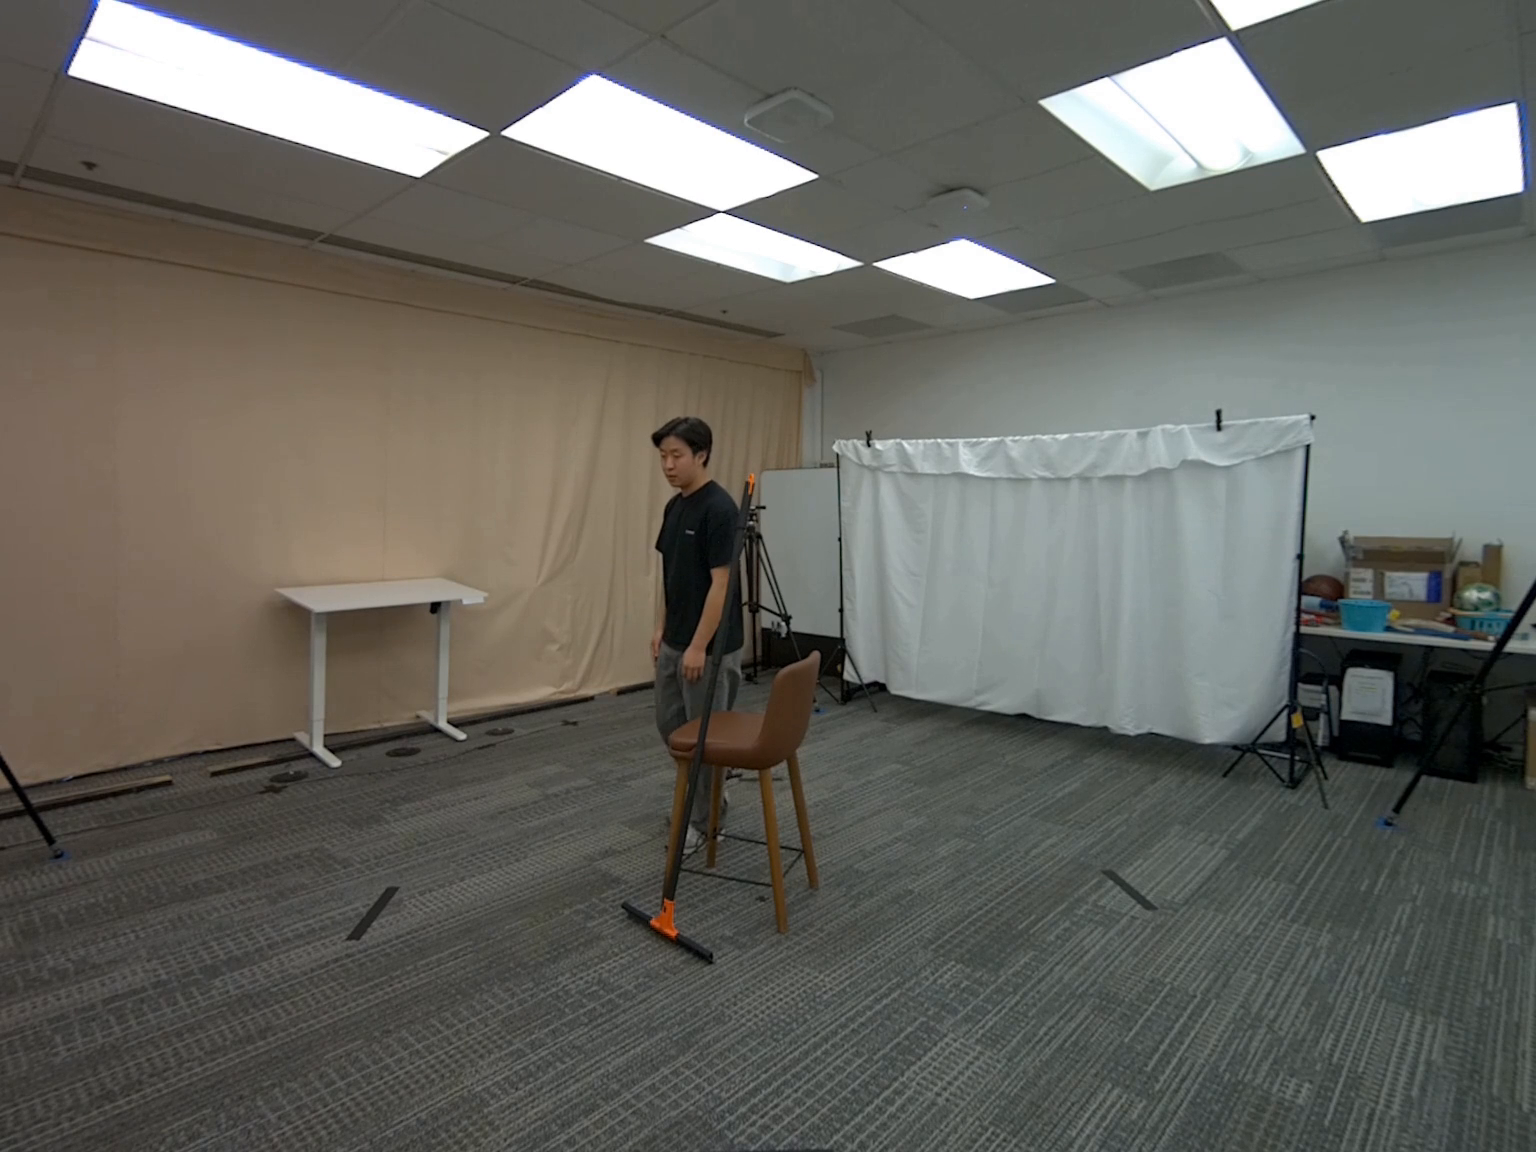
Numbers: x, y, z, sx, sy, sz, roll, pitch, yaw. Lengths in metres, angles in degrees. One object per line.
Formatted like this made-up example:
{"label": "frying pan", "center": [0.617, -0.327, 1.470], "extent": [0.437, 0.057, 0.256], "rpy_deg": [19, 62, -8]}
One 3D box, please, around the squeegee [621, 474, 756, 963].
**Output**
{"label": "squeegee", "center": [-0.205, 0.409, 2.781], "extent": [0.452, 1.541, 0.051], "rpy_deg": [5, -7, 46]}
